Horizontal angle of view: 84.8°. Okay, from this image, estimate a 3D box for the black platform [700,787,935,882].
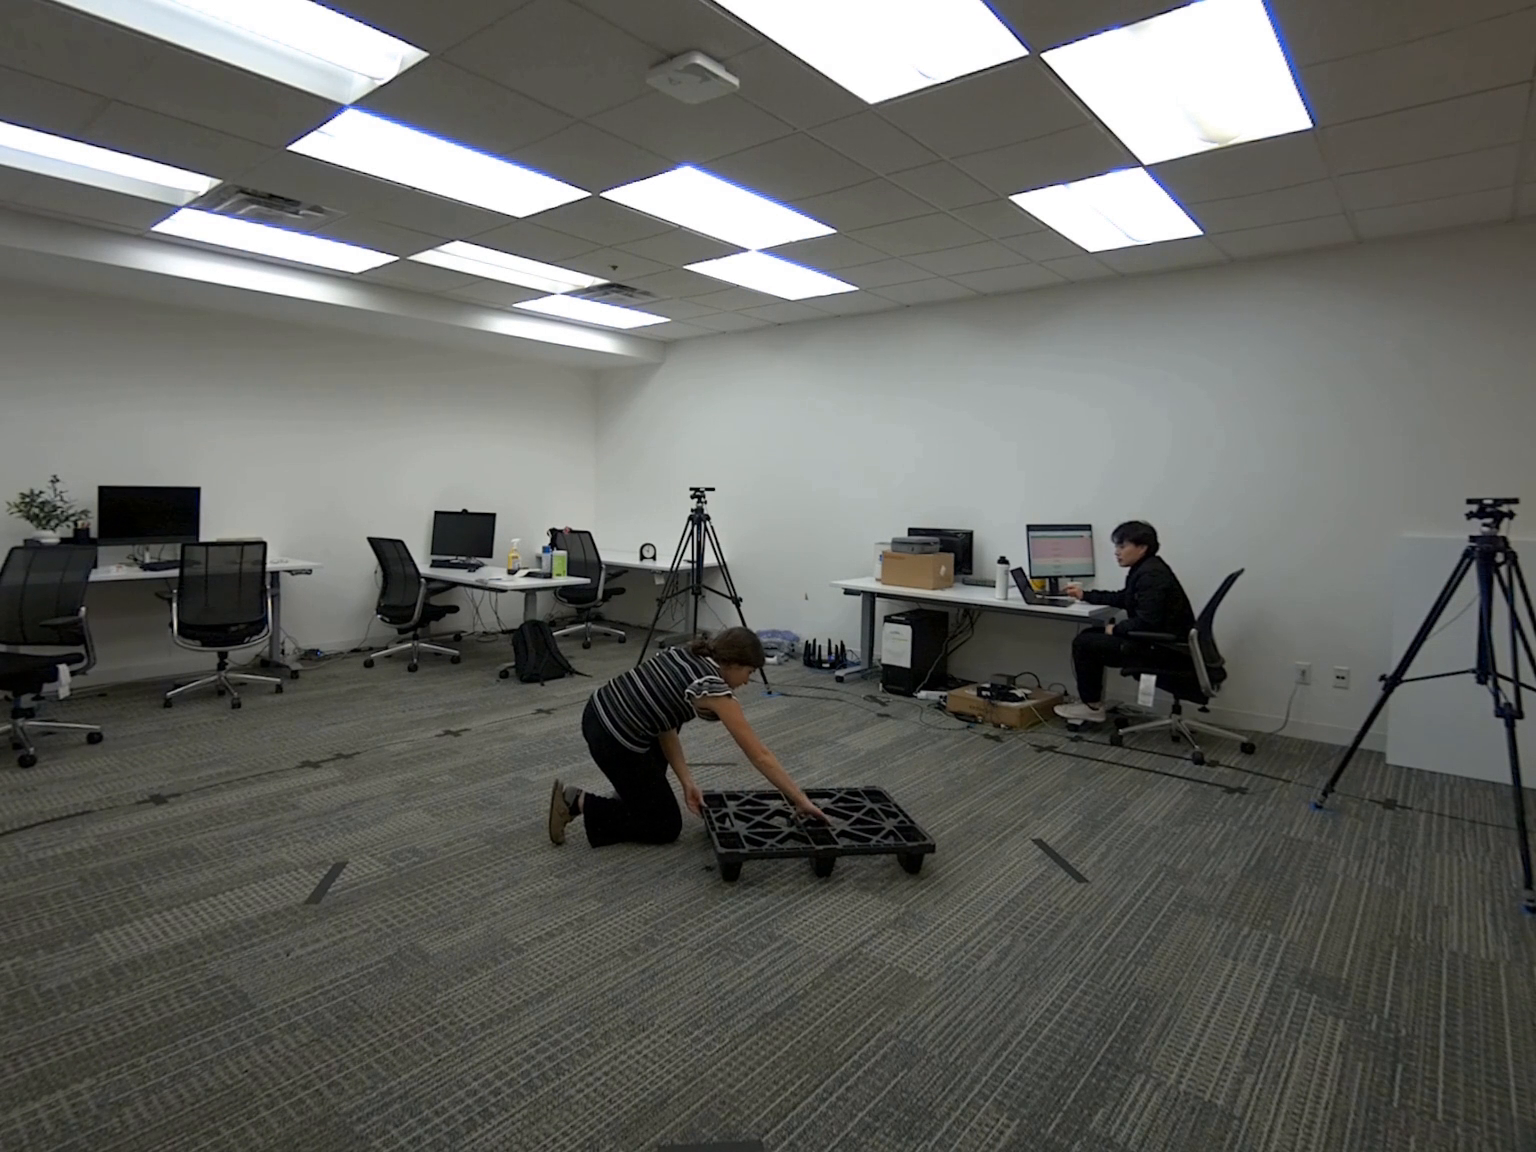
[{"bbox_3d":[0.148,0.987,3.287,0.798,0.142,0.614,0,7,-9],"label":"black platform"}]
